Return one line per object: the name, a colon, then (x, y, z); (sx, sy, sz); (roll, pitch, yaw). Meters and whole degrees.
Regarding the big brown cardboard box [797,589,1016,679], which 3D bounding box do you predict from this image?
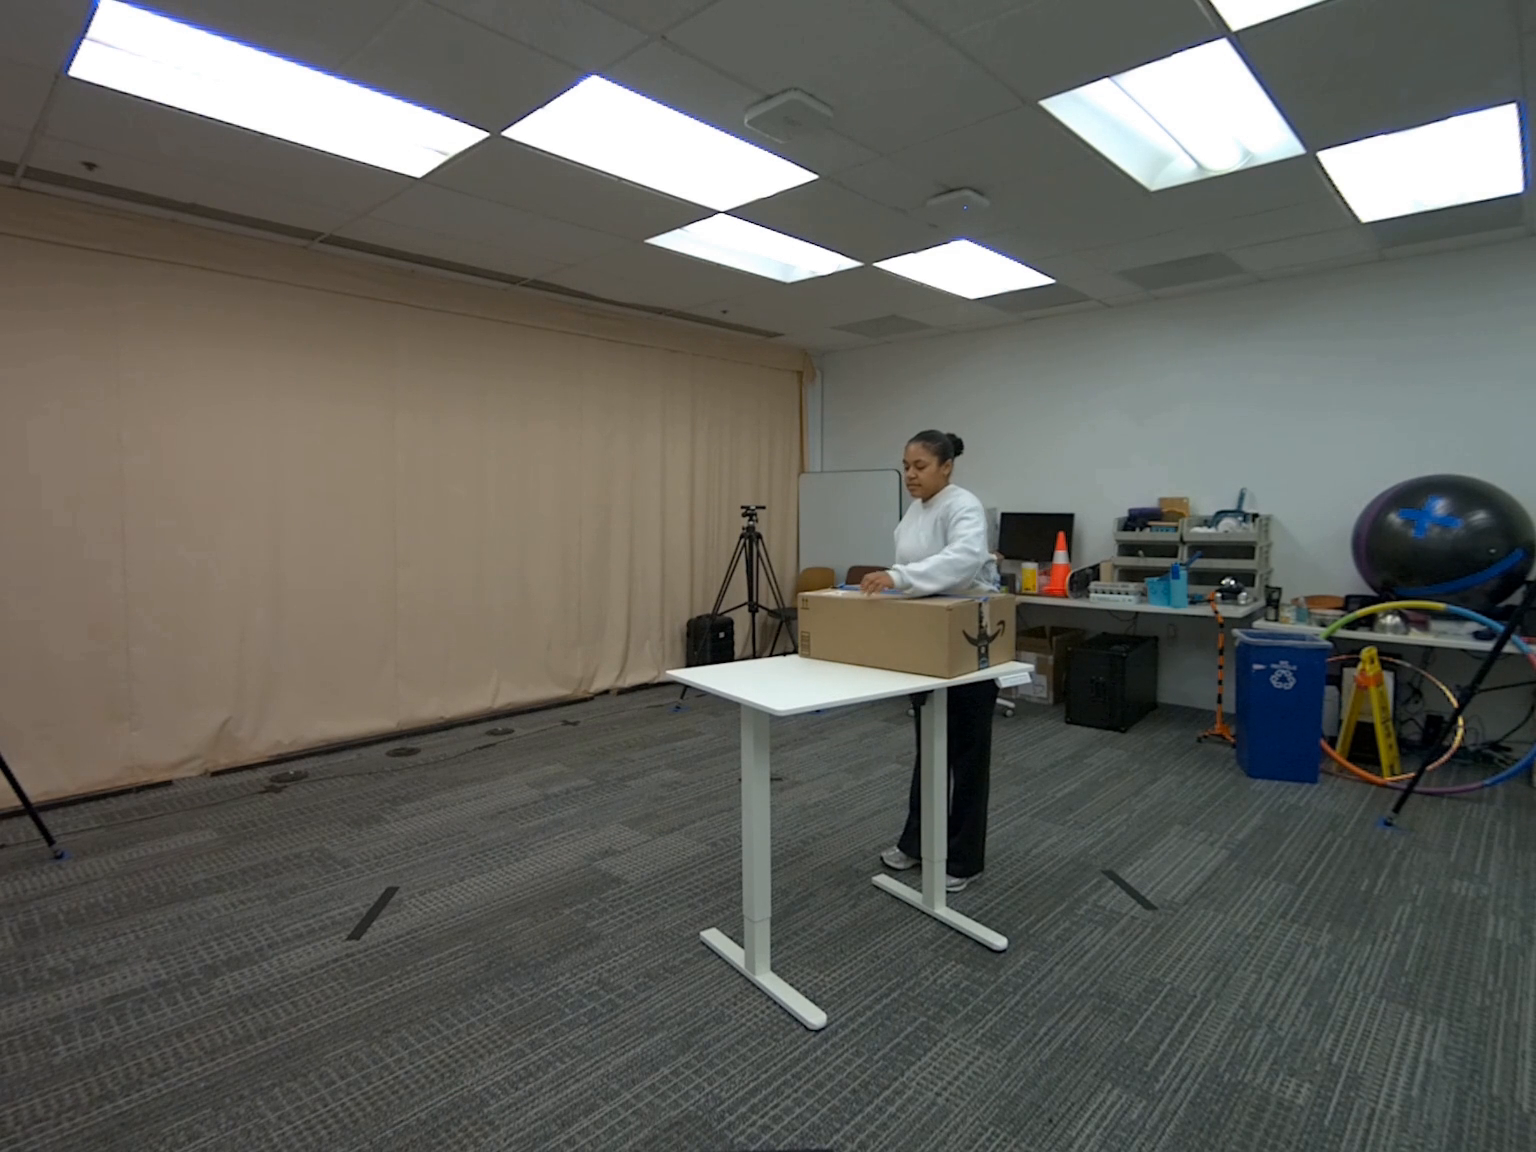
big brown cardboard box: (0.453, 0.169, 2.789); (0.609, 0.232, 0.405); (5, 7, 43)
